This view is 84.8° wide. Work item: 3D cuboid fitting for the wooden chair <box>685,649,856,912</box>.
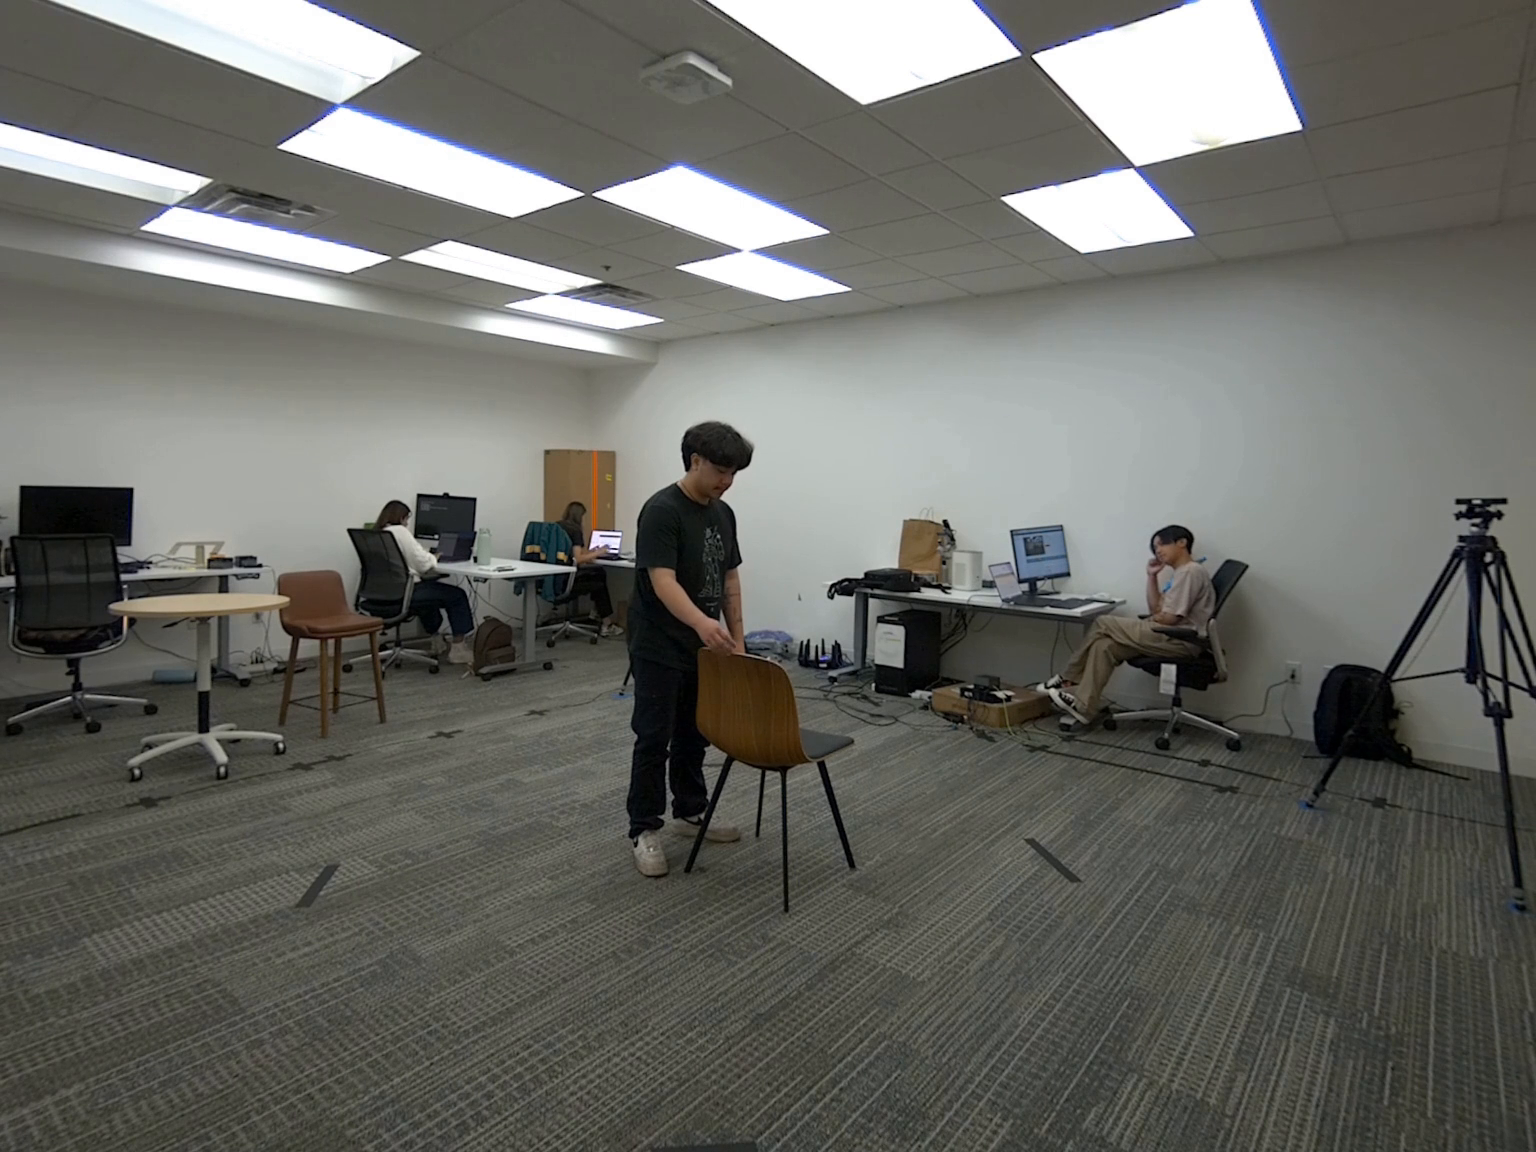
[{"bbox_3d":[0.016,0.647,3.088,0.494,0.872,0.510,3,8,37],"label":"wooden chair"}]
